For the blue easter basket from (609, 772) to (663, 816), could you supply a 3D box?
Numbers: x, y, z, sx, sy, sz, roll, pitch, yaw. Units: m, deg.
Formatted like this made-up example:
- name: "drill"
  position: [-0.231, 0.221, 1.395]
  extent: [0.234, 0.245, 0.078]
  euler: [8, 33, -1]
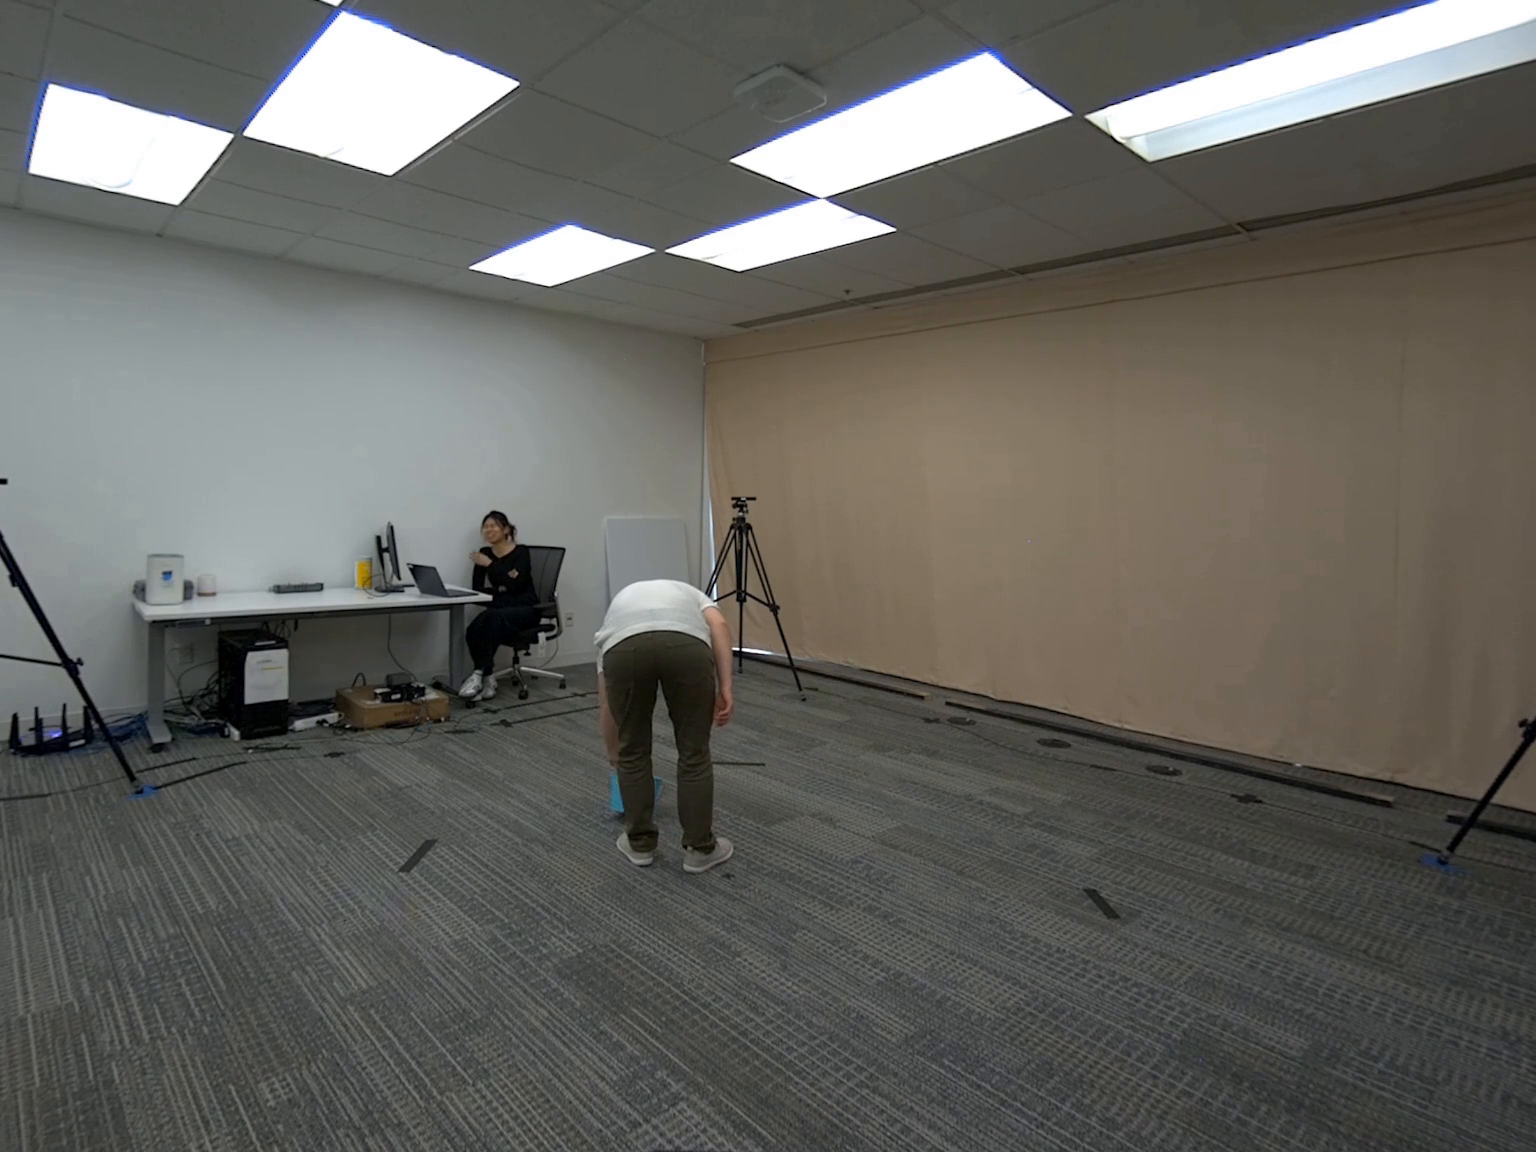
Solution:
- name: "blue easter basket"
  position: [-0.584, 0.951, 3.653]
  extent: [0.244, 0.157, 0.241]
  euler: [7, -15, 1]
